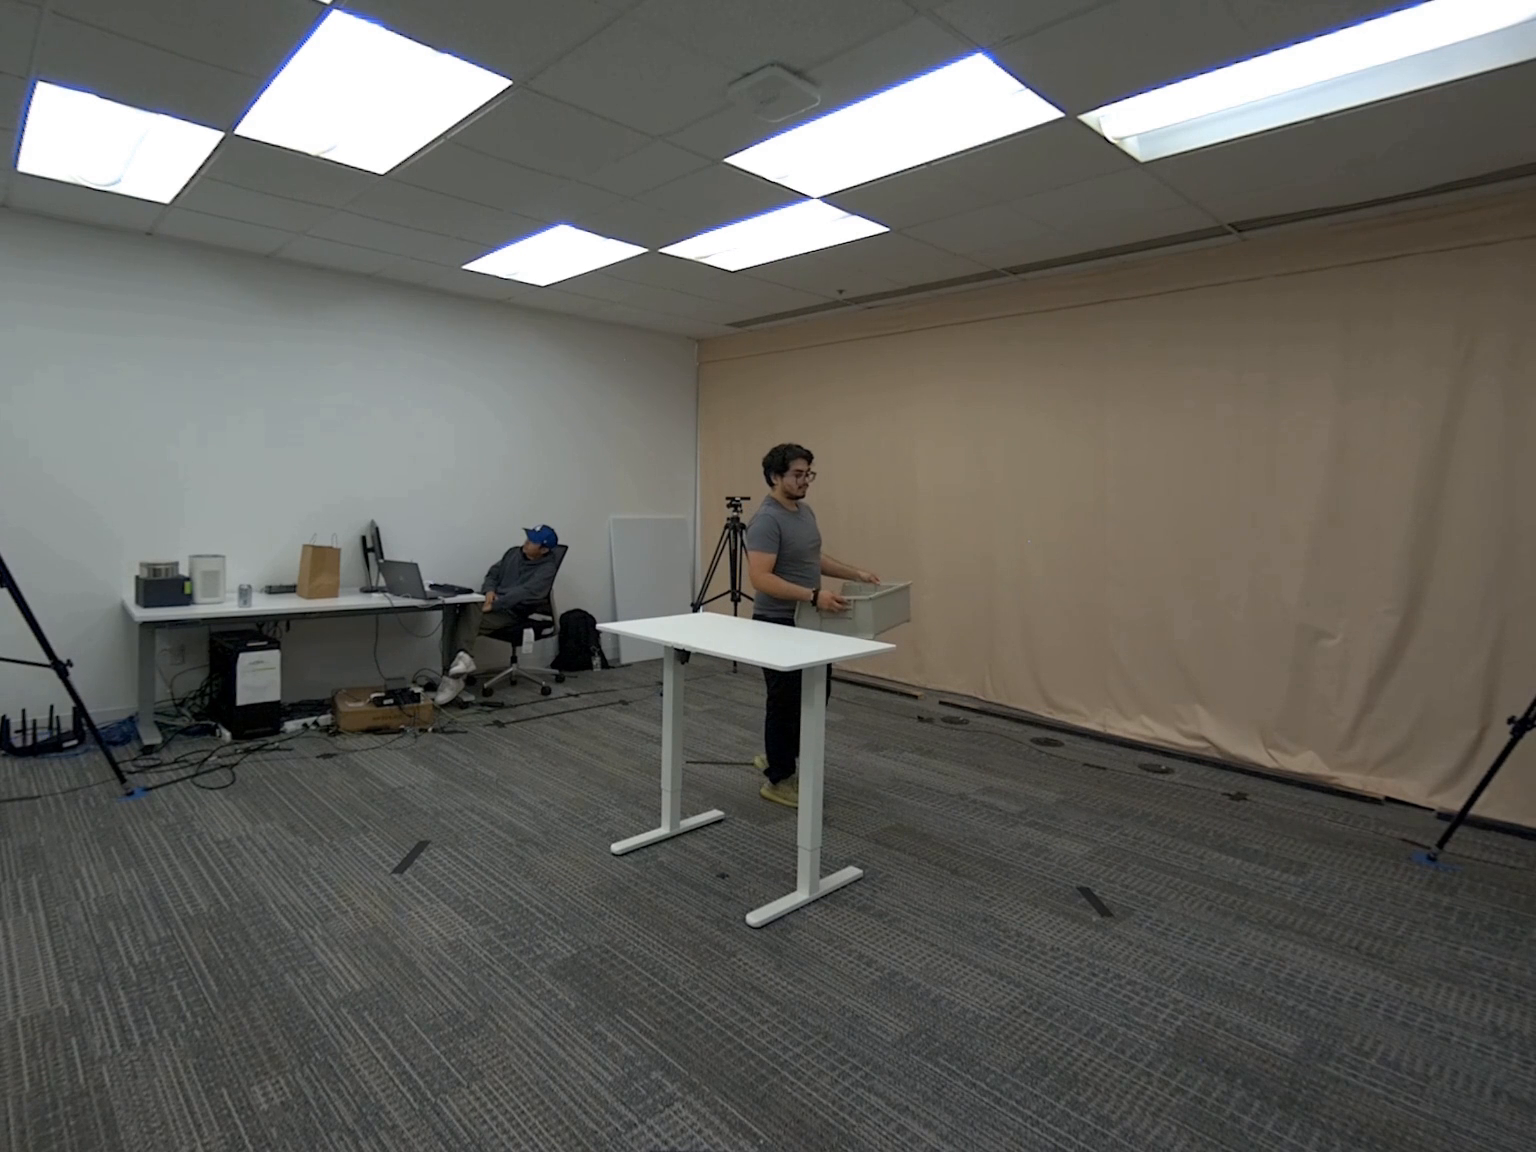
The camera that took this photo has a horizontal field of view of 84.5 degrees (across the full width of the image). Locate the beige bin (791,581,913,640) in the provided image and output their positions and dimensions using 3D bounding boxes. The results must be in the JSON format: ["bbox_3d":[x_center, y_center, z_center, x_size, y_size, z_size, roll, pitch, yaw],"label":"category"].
[{"bbox_3d":[0.368,0.139,3.714,0.386,0.188,0.414,0,6,34],"label":"beige bin"}]
